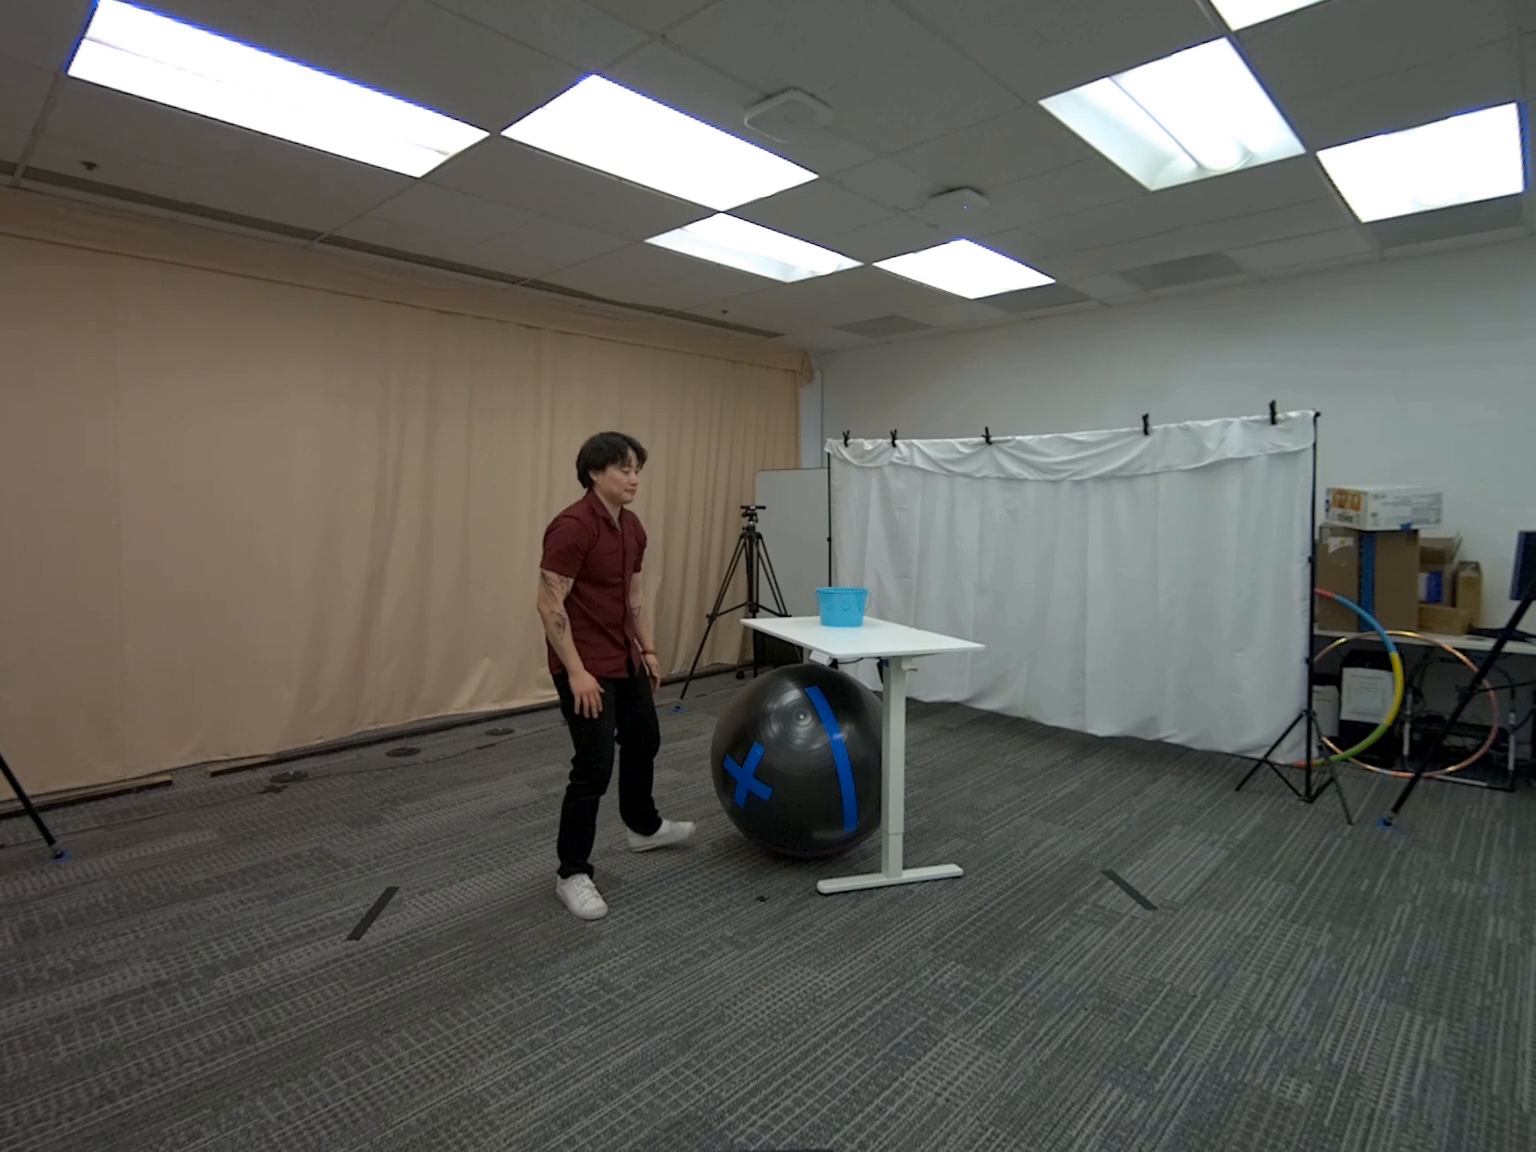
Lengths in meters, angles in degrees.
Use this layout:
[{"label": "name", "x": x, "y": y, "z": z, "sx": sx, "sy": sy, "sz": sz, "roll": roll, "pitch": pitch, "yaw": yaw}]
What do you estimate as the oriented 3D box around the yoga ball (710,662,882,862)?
[{"label": "yoga ball", "x": 0.153, "y": 0.734, "z": 3.380, "sx": 0.757, "sy": 0.756, "sz": 0.760, "roll": 0, "pitch": 4, "yaw": -2}]
